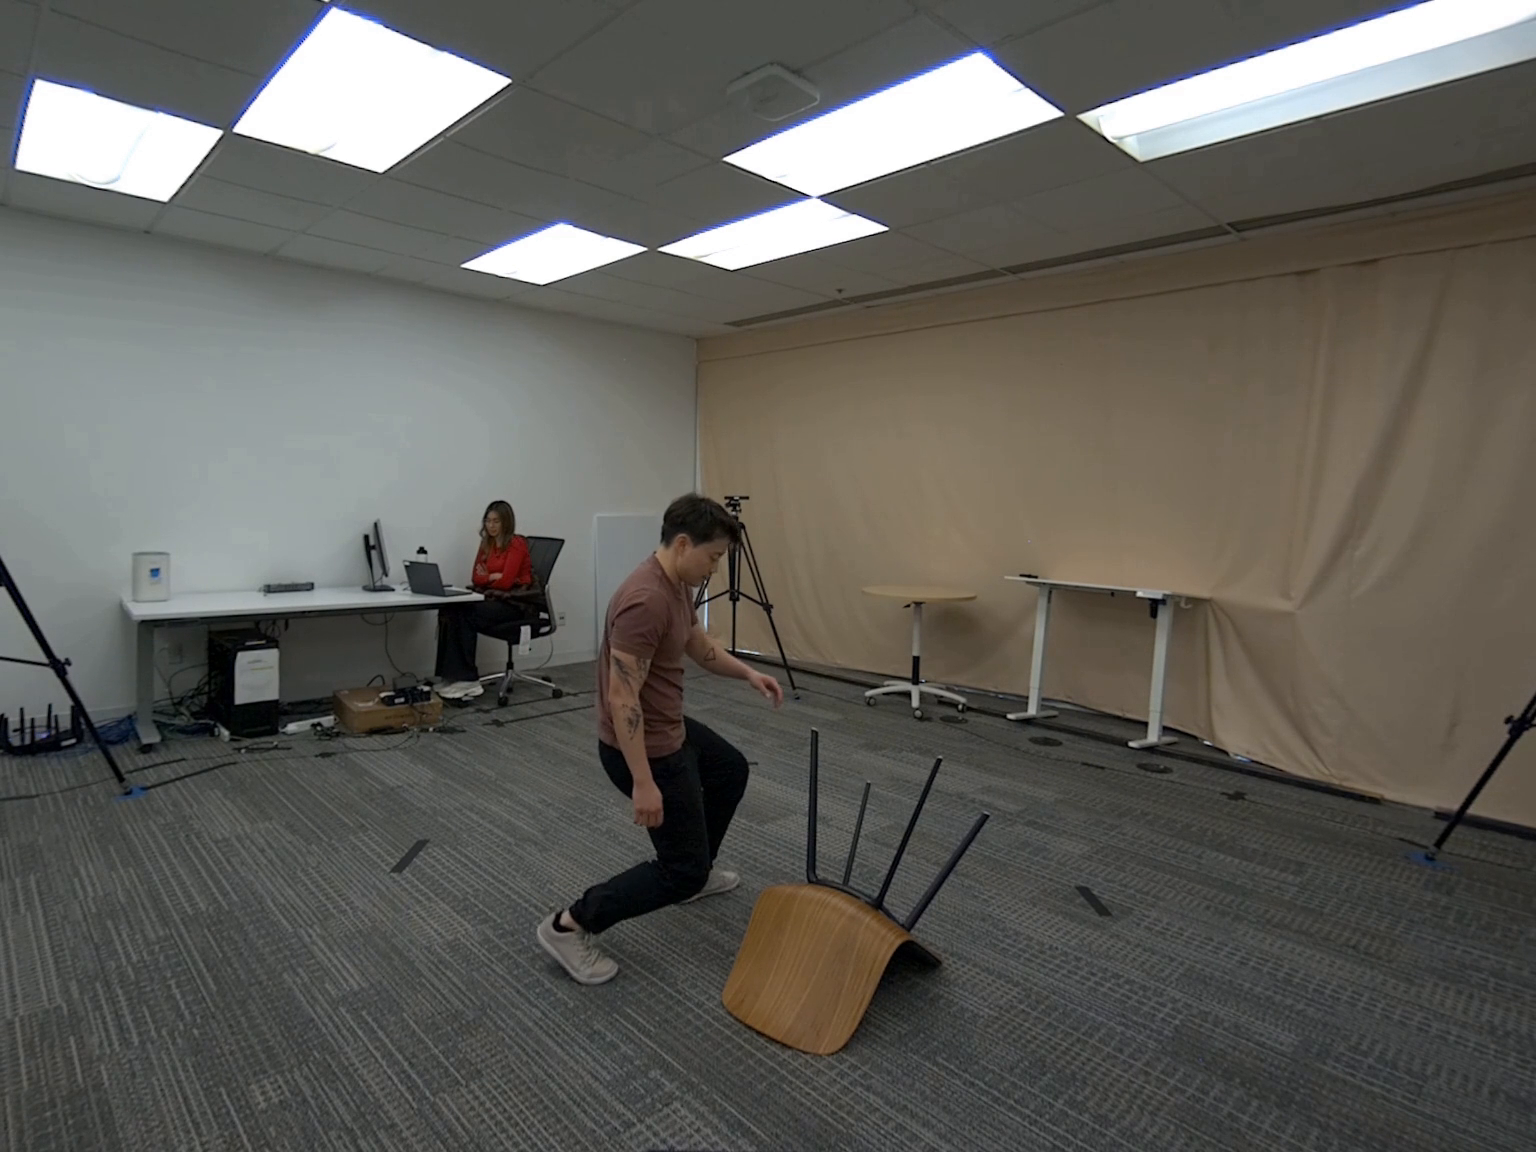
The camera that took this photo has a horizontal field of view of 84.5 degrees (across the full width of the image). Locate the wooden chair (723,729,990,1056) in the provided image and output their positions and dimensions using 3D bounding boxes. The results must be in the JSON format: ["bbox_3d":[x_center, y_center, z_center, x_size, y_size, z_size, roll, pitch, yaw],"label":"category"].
[{"bbox_3d":[0.265,0.994,2.540,0.490,0.883,0.507,5,-35,37],"label":"wooden chair"}]
